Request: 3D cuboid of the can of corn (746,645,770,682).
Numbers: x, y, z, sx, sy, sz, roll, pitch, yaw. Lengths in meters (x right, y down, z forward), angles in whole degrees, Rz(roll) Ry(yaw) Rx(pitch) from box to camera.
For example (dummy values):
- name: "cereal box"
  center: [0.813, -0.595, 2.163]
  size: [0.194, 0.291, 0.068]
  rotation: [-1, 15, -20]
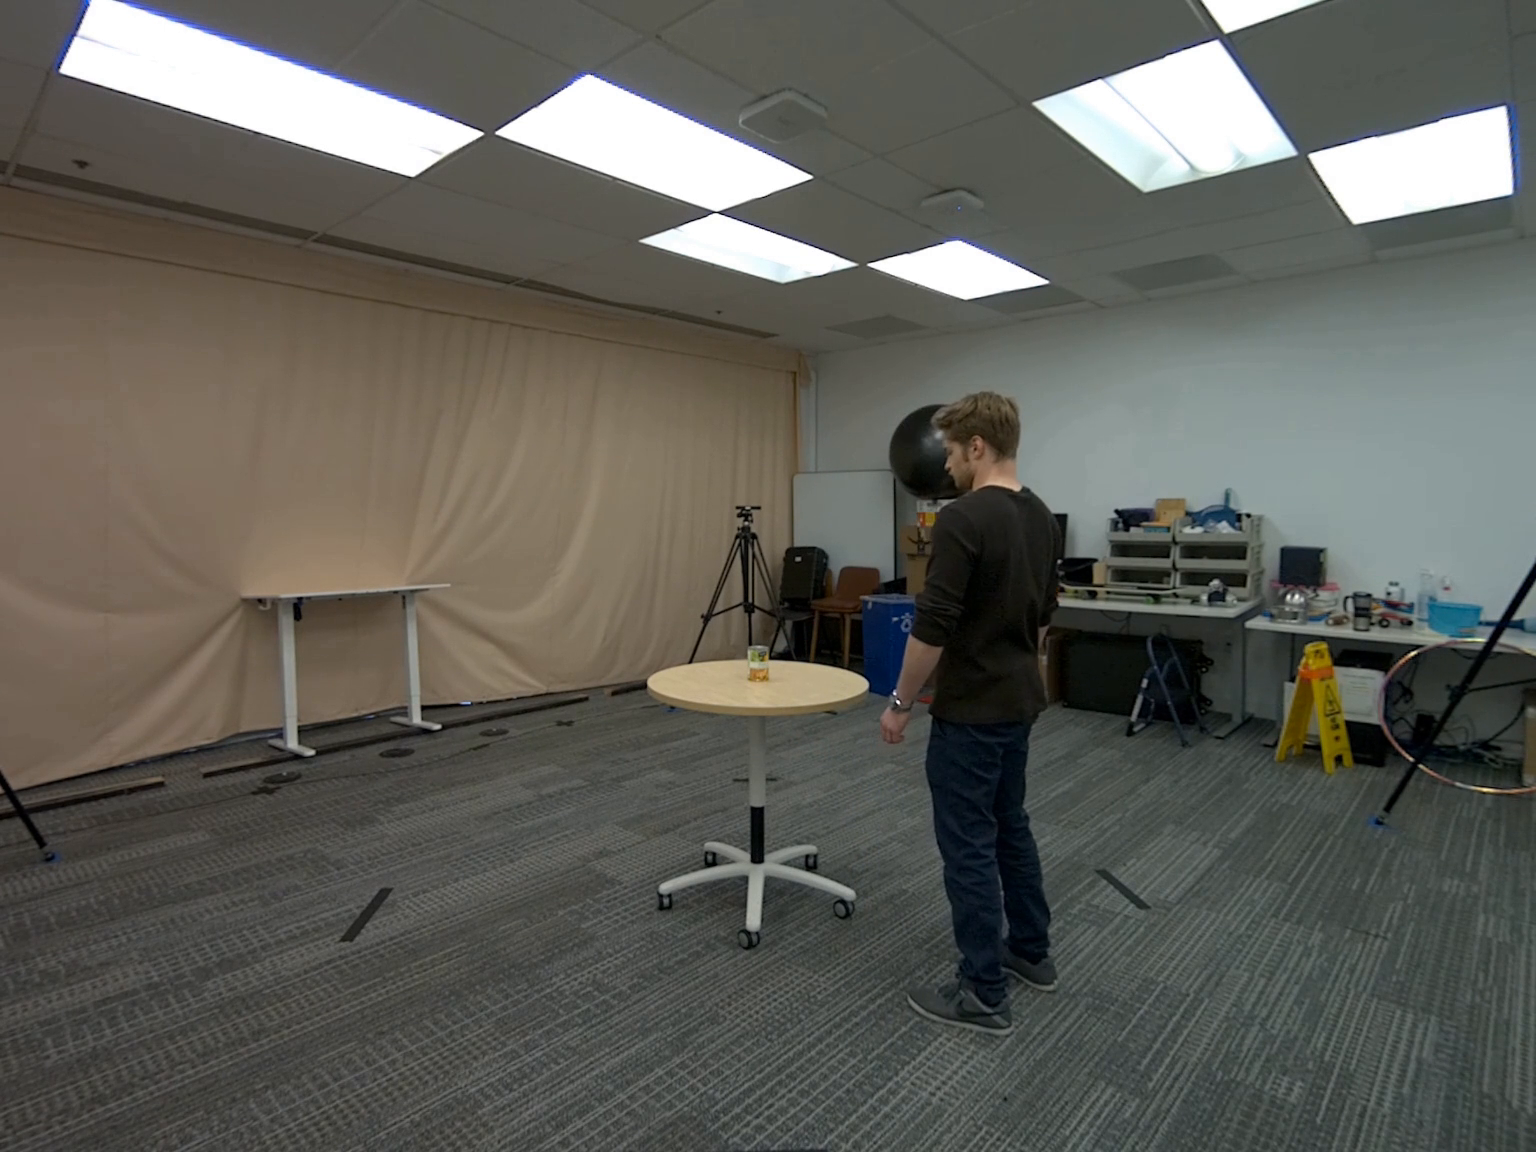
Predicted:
- name: "can of corn"
  center: [-0.030, 0.307, 2.945]
  size: [0.074, 0.111, 0.074]
  rotation: [2, 5, -2]
